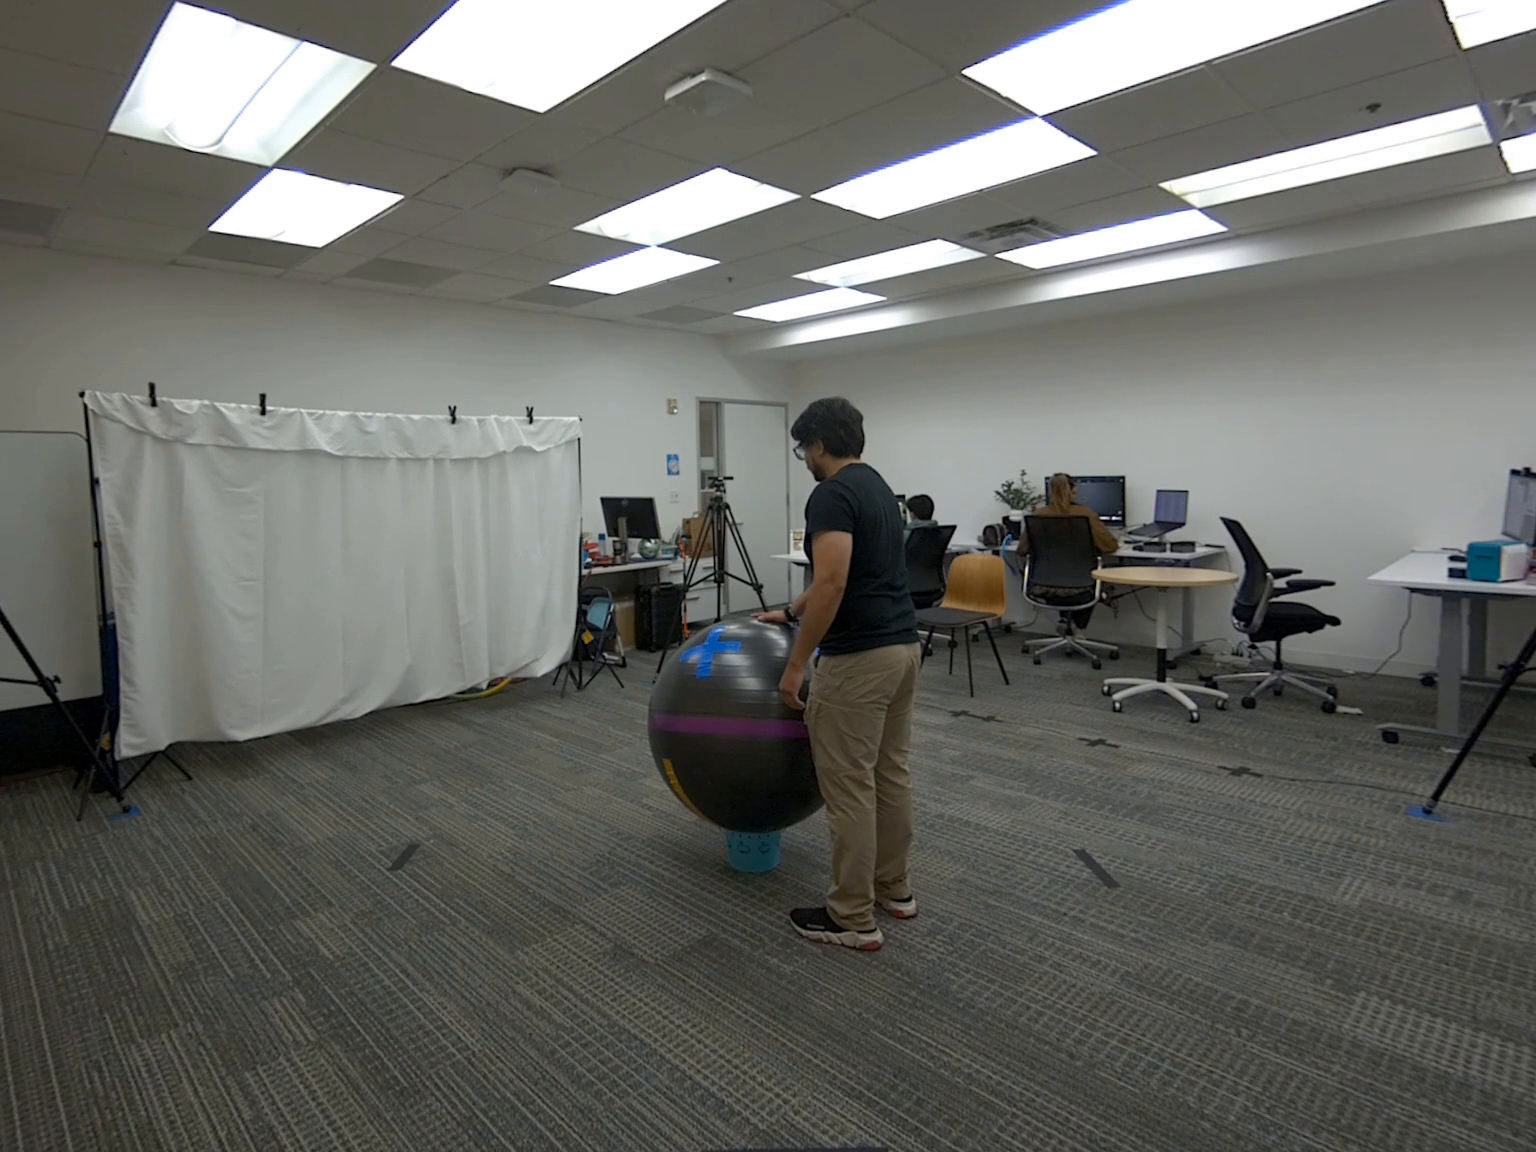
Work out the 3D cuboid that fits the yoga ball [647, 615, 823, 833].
[{"bbox_3d":[-0.056,0.530,3.092,0.757,0.755,0.762,-1,5,-2],"label":"yoga ball"}]
